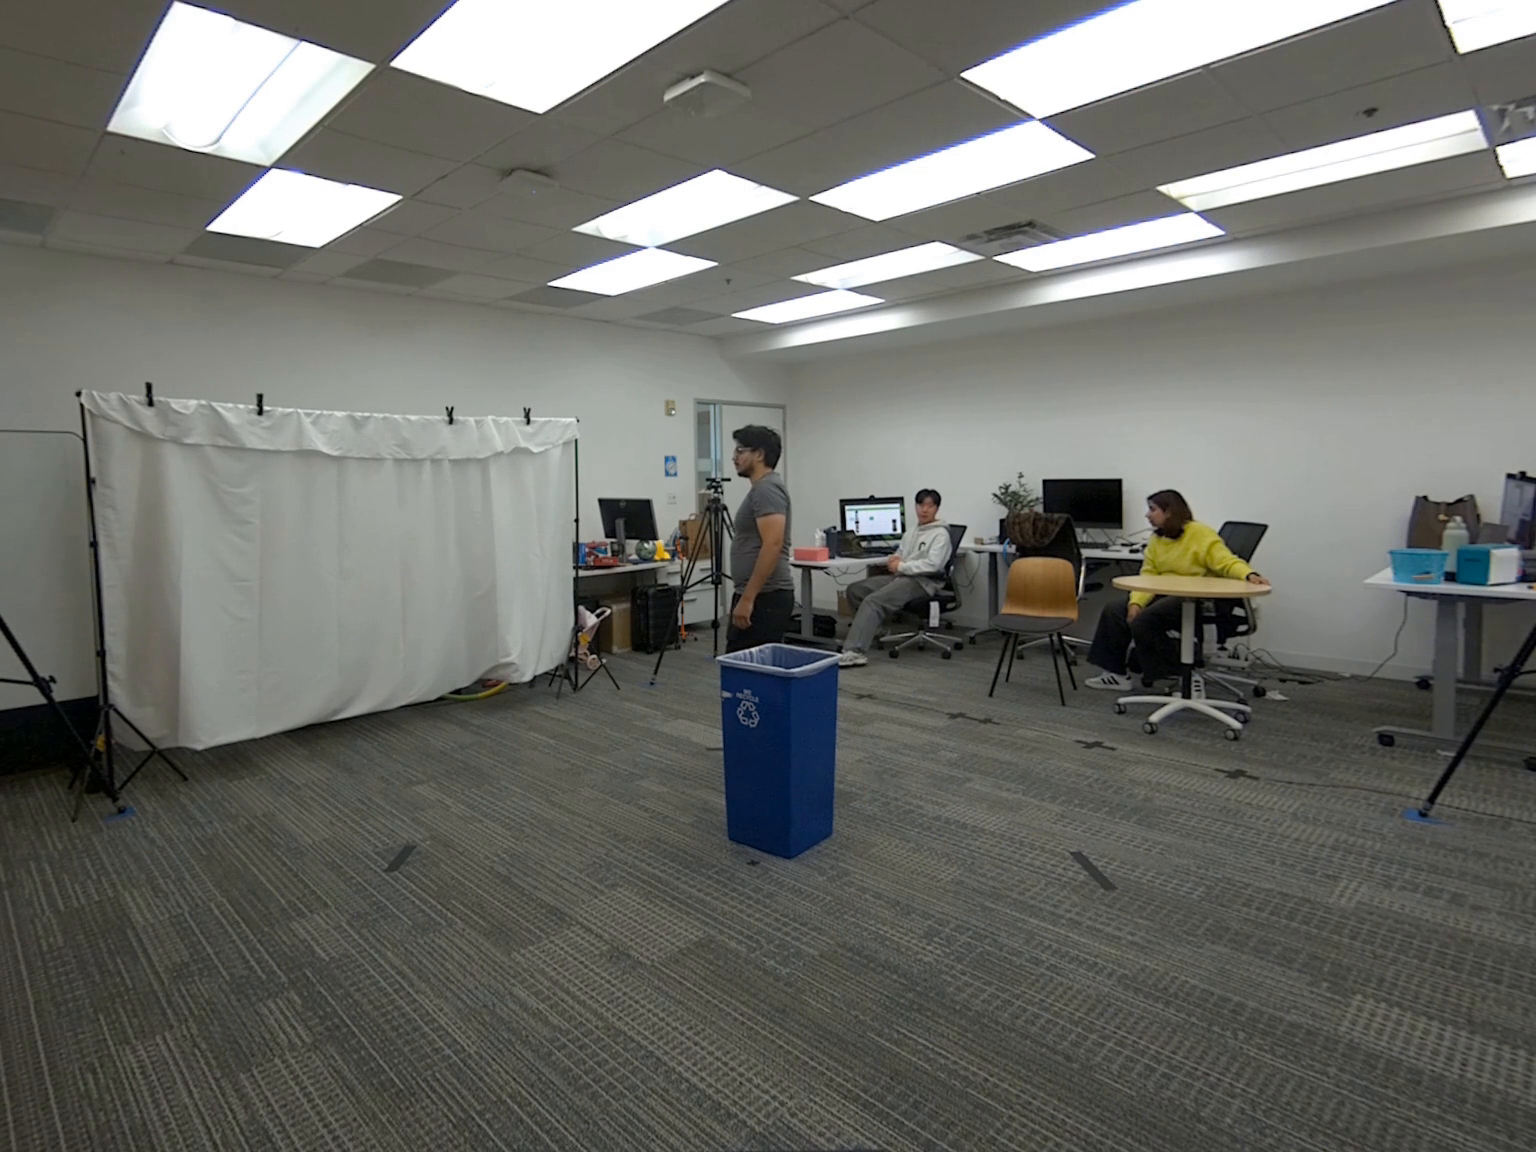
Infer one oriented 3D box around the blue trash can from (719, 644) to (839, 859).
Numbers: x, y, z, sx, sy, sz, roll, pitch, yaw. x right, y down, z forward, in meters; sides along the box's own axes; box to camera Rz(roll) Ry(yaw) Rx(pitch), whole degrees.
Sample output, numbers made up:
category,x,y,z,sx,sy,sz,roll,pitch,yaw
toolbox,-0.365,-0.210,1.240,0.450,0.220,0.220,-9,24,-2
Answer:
category,x,y,z,sx,sy,sz,roll,pitch,yaw
blue trash can,0.054,0.662,3.304,0.385,0.711,0.368,3,5,39
